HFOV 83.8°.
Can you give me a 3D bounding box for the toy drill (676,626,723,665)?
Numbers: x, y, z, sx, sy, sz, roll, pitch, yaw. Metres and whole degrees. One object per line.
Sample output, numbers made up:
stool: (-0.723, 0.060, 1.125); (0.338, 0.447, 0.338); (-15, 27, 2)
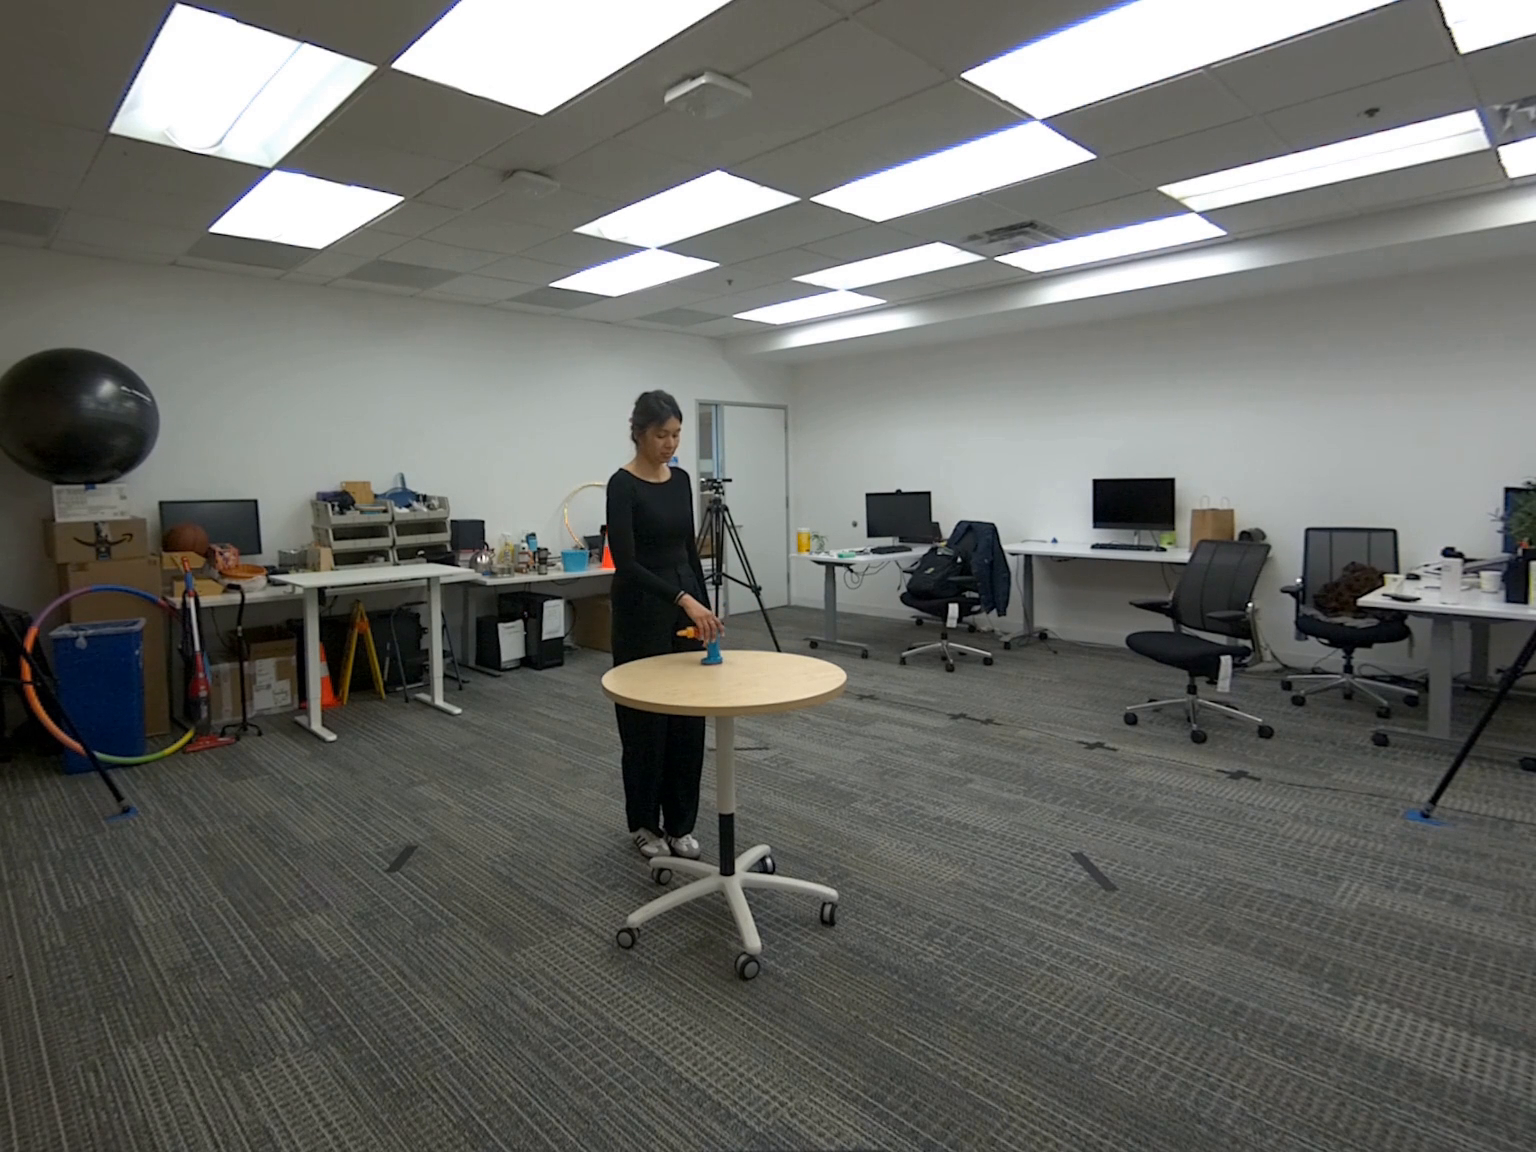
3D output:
toy drill: (-0.220, 0.224, 2.835); (0.166, 0.145, 0.063); (-5, 7, -29)
